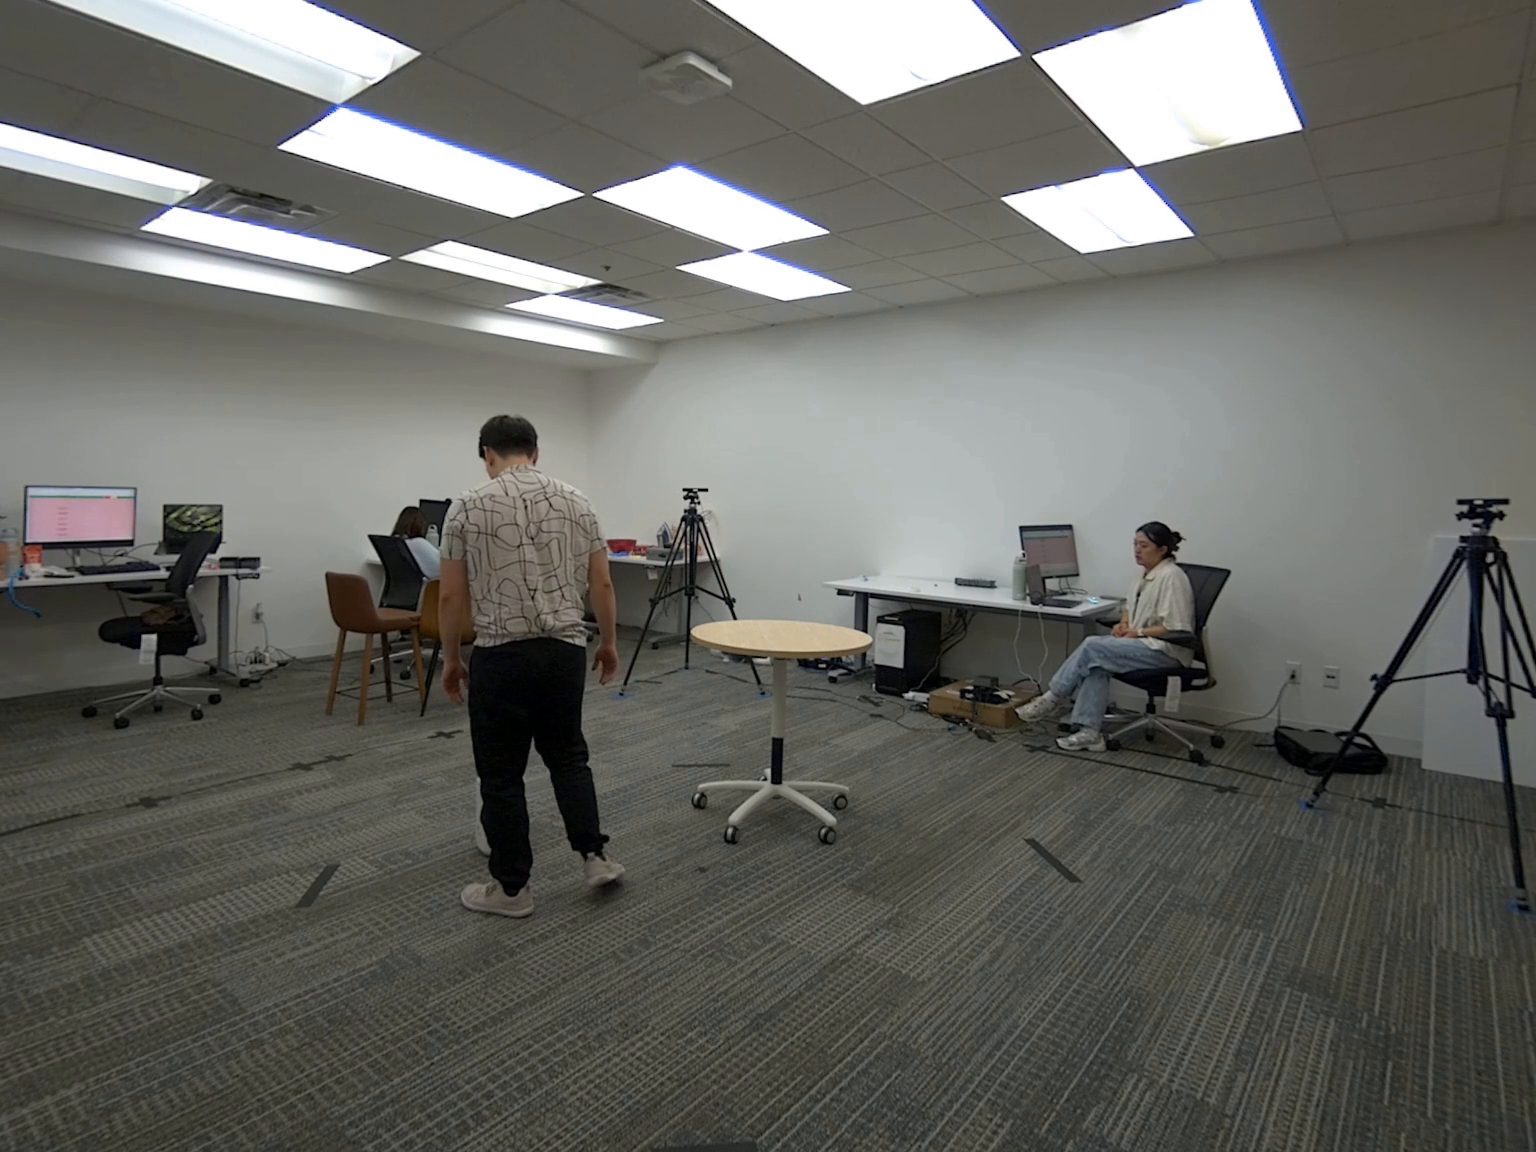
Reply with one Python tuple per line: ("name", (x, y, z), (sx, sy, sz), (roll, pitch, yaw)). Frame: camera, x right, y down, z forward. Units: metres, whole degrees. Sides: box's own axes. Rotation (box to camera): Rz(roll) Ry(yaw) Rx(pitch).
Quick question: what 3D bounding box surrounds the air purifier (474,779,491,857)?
("air purifier", (-1.029, 0.902, 3.252), (0.166, 0.265, 0.176), (-1, 3, -36))
